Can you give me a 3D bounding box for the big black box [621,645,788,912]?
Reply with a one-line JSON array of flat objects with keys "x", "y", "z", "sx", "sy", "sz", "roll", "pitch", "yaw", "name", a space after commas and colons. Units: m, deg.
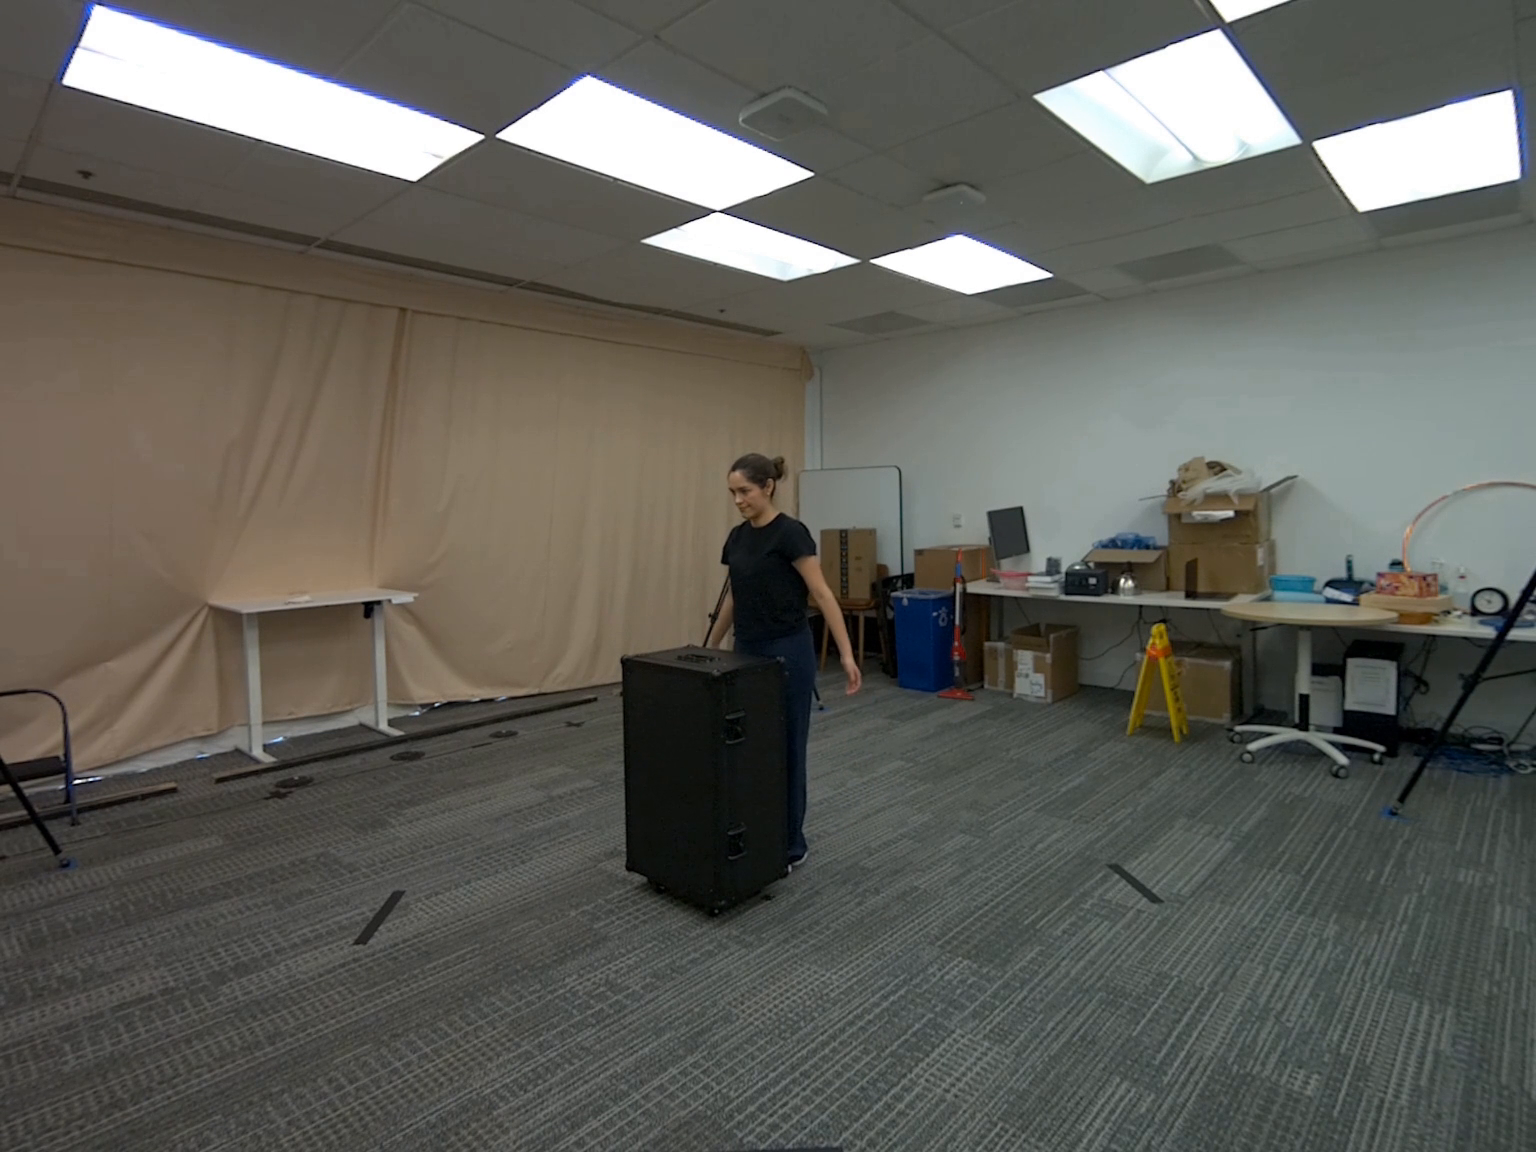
[{"x": -0.213, "y": 0.714, "z": 3.029, "sx": 0.538, "sy": 0.860, "sz": 0.384, "roll": 2, "pitch": 3, "yaw": 42, "name": "big black box"}]
